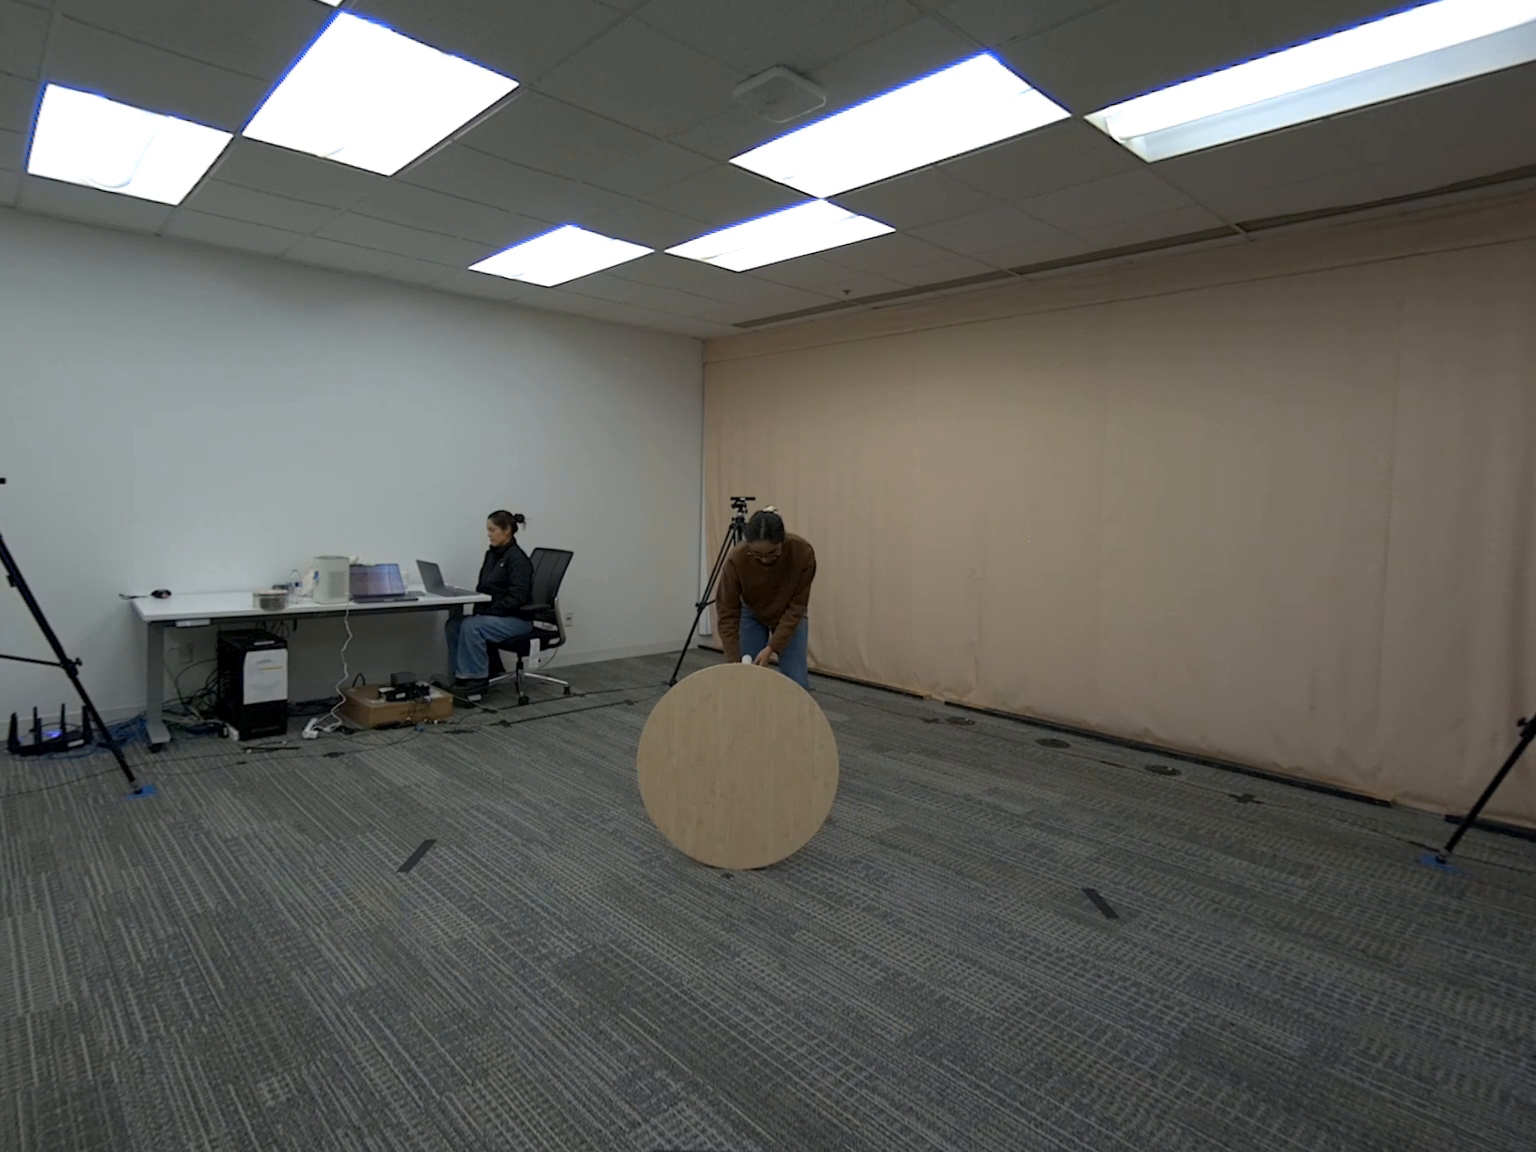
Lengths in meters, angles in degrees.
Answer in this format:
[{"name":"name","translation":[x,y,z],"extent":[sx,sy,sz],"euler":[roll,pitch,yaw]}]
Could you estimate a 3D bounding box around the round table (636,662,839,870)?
[{"name":"round table","translation":[-0.109,0.720,3.570],"extent":[0.767,0.765,0.790],"euler":[2,-1,4]}]
